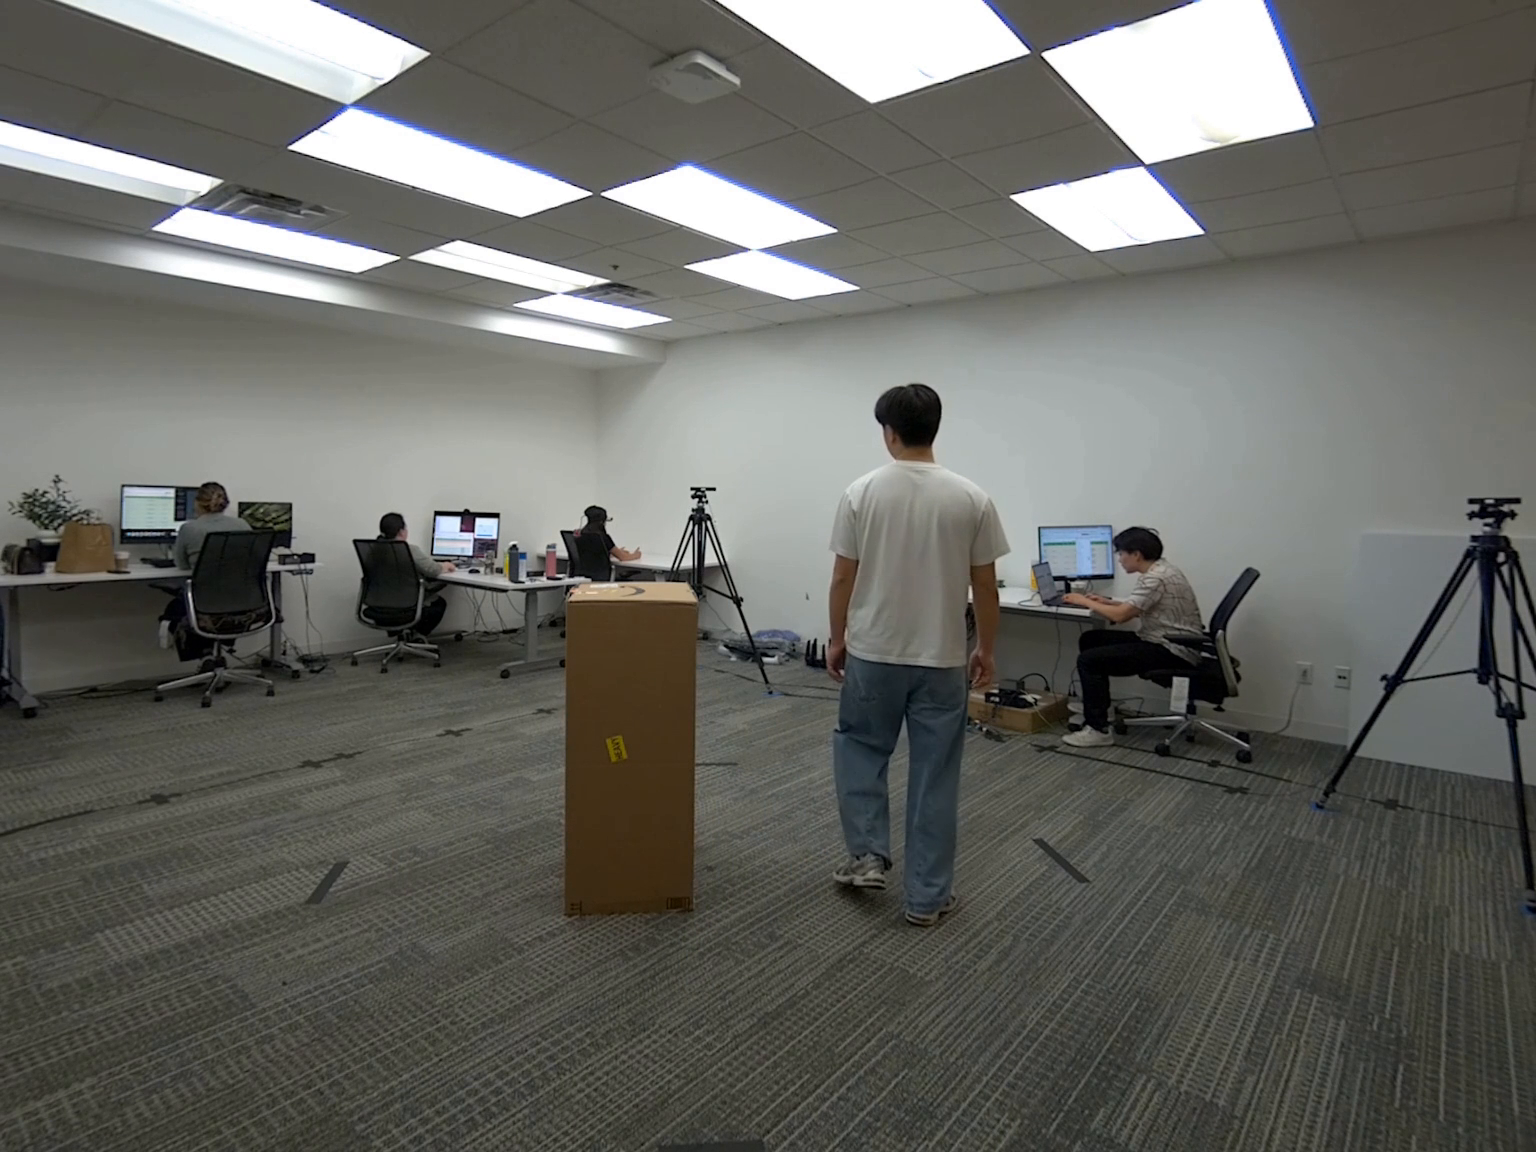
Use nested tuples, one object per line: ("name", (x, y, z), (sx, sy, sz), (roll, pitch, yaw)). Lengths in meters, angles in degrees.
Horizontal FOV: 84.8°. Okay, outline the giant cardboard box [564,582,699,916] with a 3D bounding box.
("giant cardboard box", (-0.501, 0.560, 3.031), (0.423, 1.023, 0.583), (1, 3, -7))
